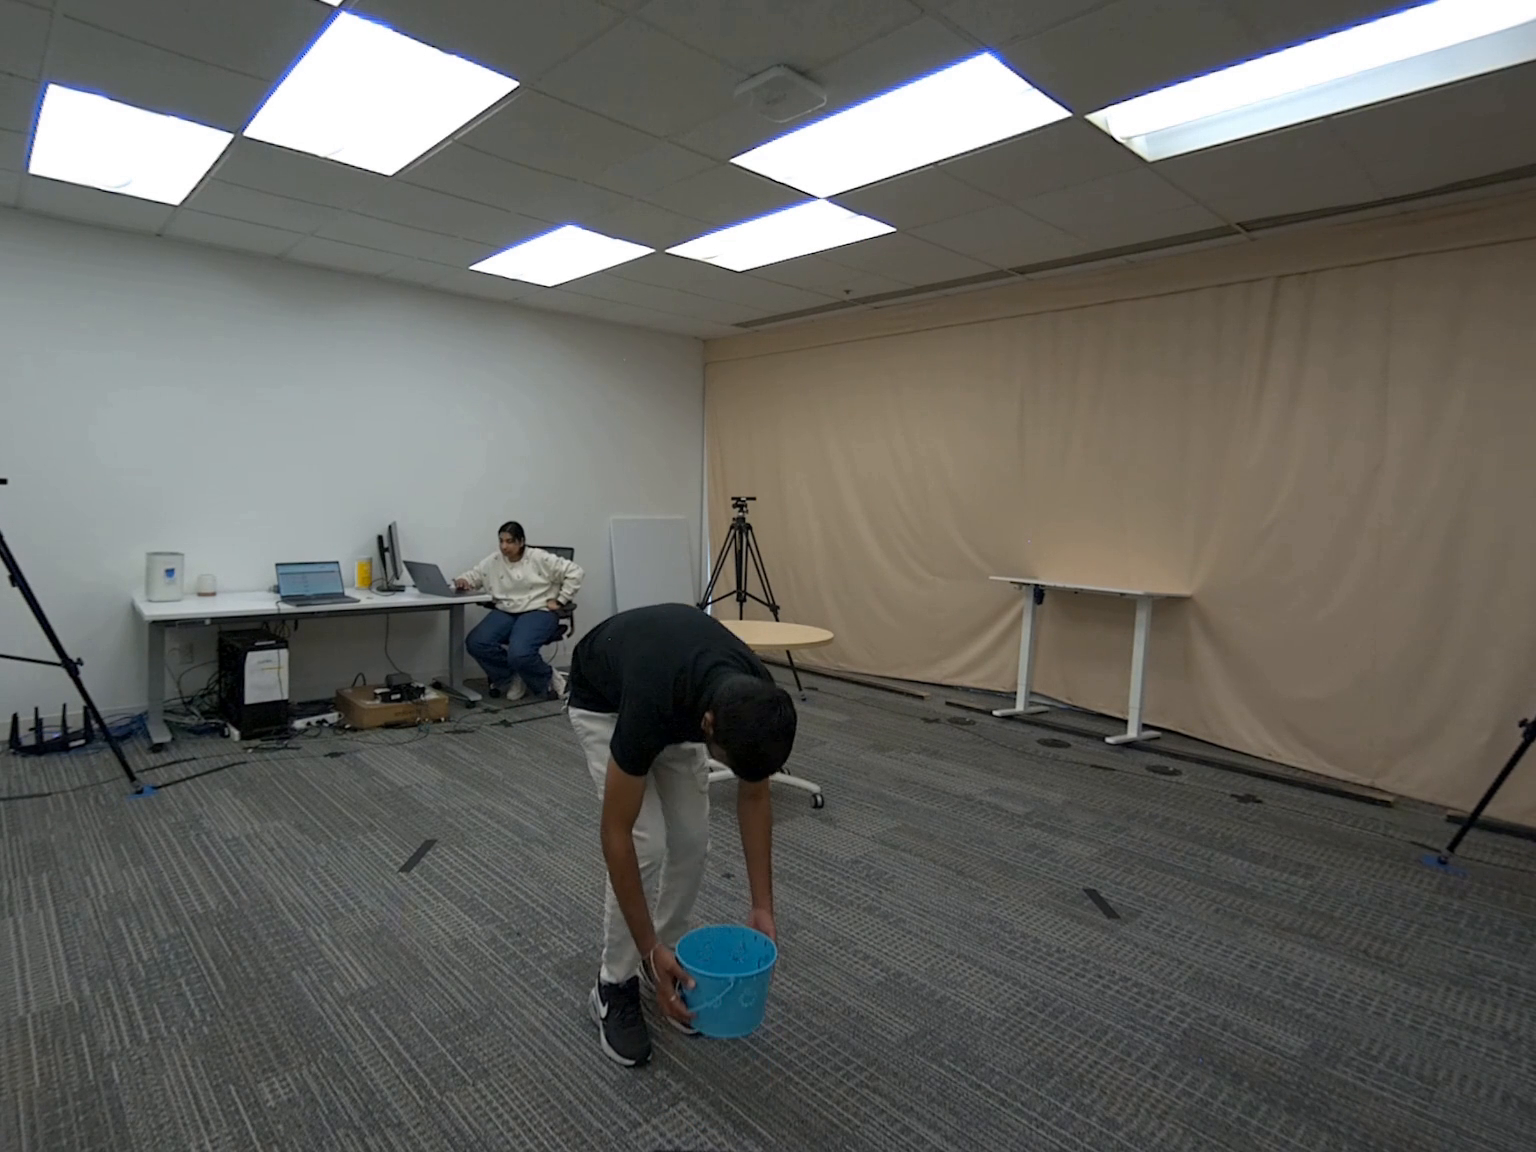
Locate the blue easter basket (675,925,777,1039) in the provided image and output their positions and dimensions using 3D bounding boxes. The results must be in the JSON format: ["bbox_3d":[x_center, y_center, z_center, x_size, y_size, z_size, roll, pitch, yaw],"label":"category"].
[{"bbox_3d":[-0.121,0.937,1.926,0.243,0.155,0.244,2,3,-1],"label":"blue easter basket"}]
